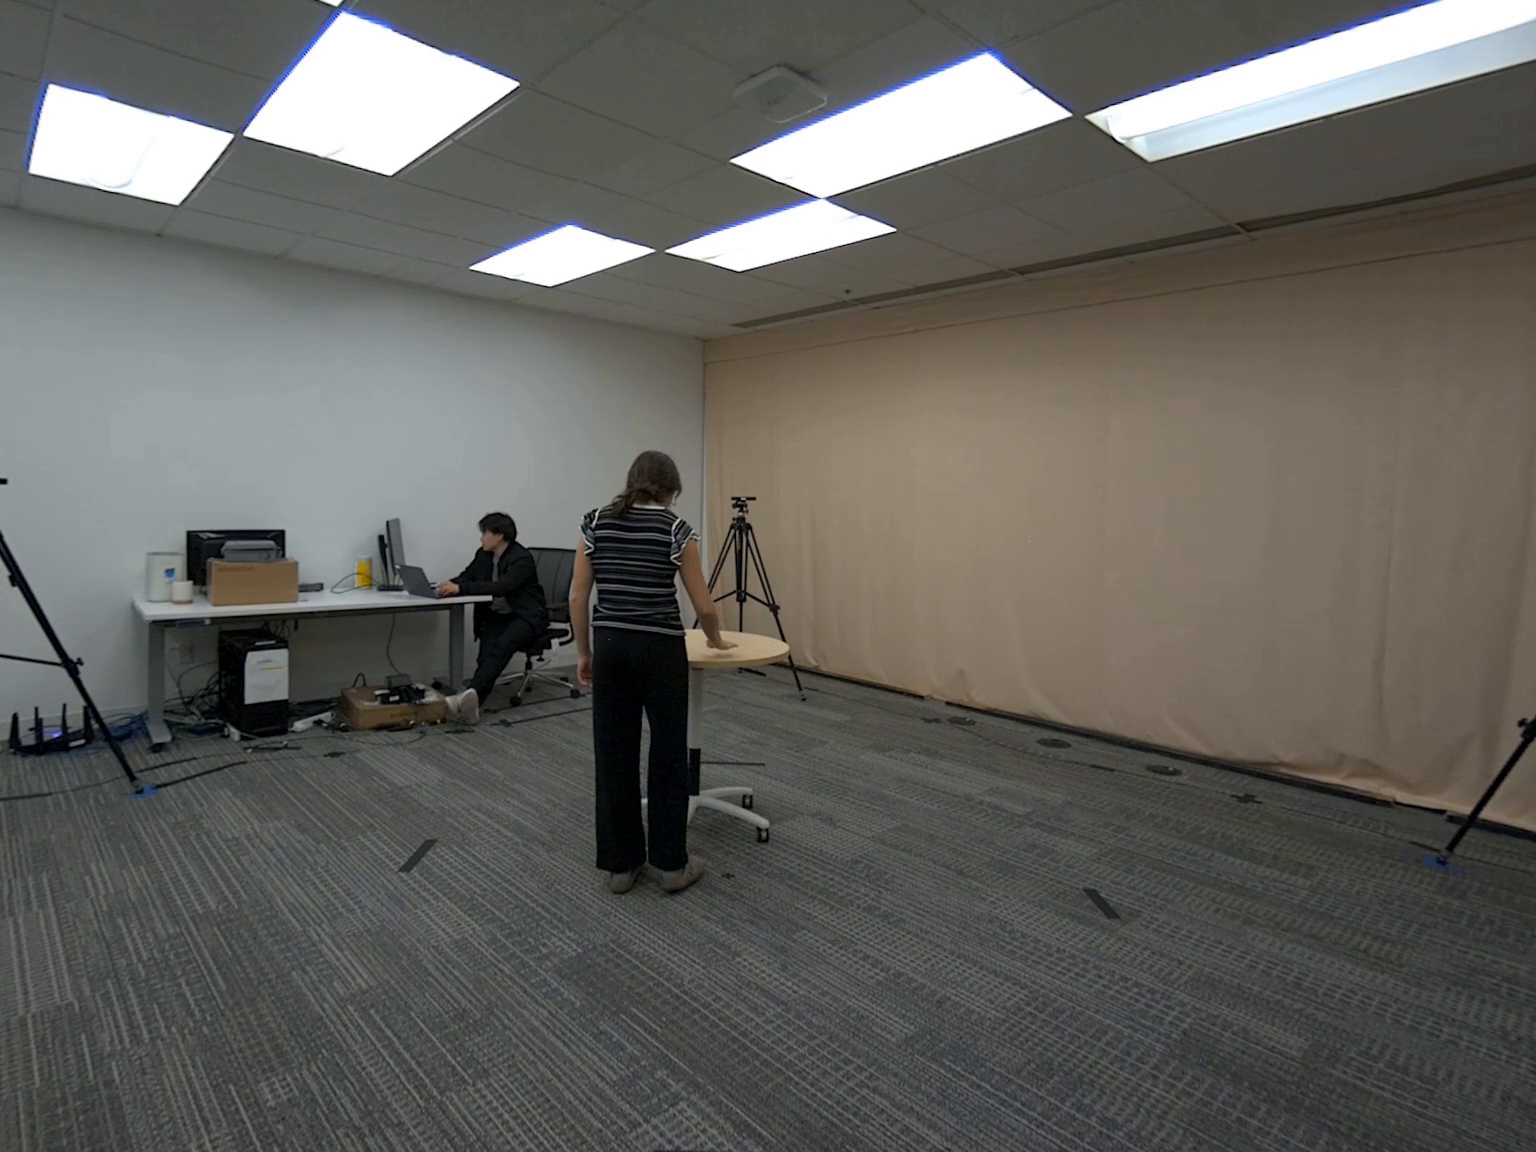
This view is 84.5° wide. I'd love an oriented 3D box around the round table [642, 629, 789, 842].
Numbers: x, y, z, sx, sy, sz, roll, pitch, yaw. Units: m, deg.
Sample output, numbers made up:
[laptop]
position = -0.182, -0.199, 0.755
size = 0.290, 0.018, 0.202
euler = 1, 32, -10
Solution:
[round table]
position = -0.315, 0.677, 3.552
size = 0.763, 0.792, 0.766
euler = 2, 4, -1
